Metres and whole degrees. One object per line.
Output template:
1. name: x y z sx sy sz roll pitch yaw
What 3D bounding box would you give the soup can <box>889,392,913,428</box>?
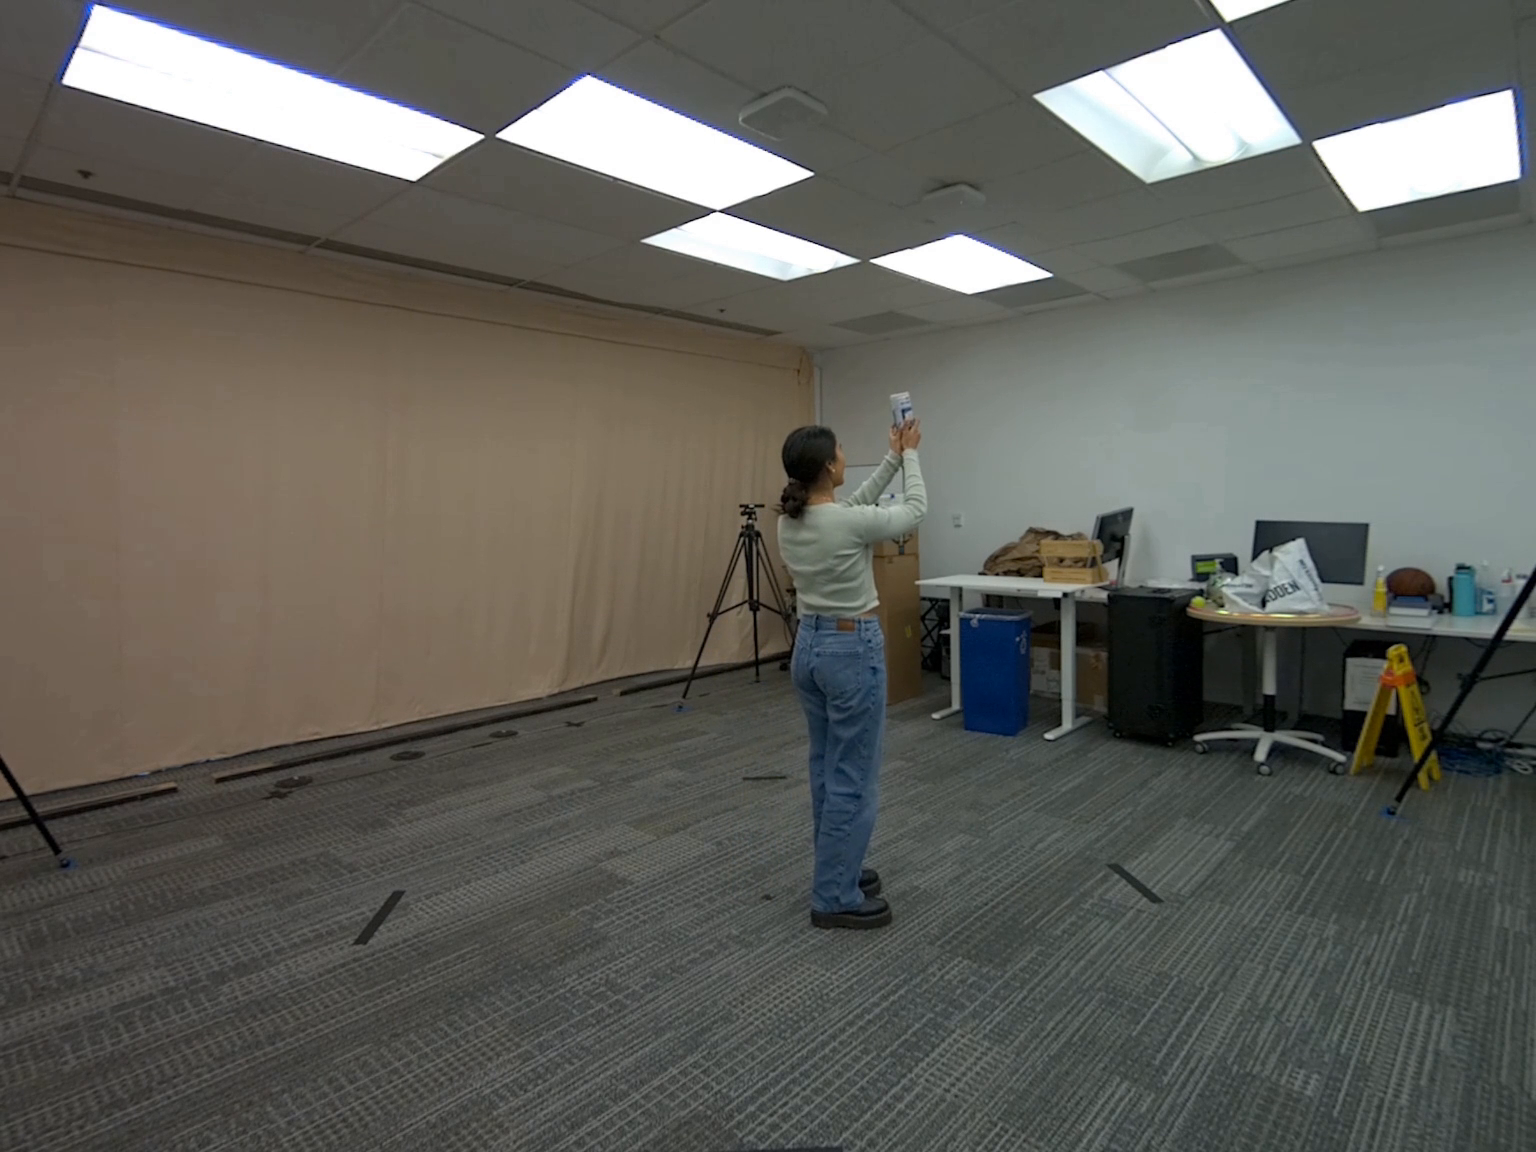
1. soup can: 0.473 -0.581 2.968 0.067 0.121 0.067 -8 9 -1
